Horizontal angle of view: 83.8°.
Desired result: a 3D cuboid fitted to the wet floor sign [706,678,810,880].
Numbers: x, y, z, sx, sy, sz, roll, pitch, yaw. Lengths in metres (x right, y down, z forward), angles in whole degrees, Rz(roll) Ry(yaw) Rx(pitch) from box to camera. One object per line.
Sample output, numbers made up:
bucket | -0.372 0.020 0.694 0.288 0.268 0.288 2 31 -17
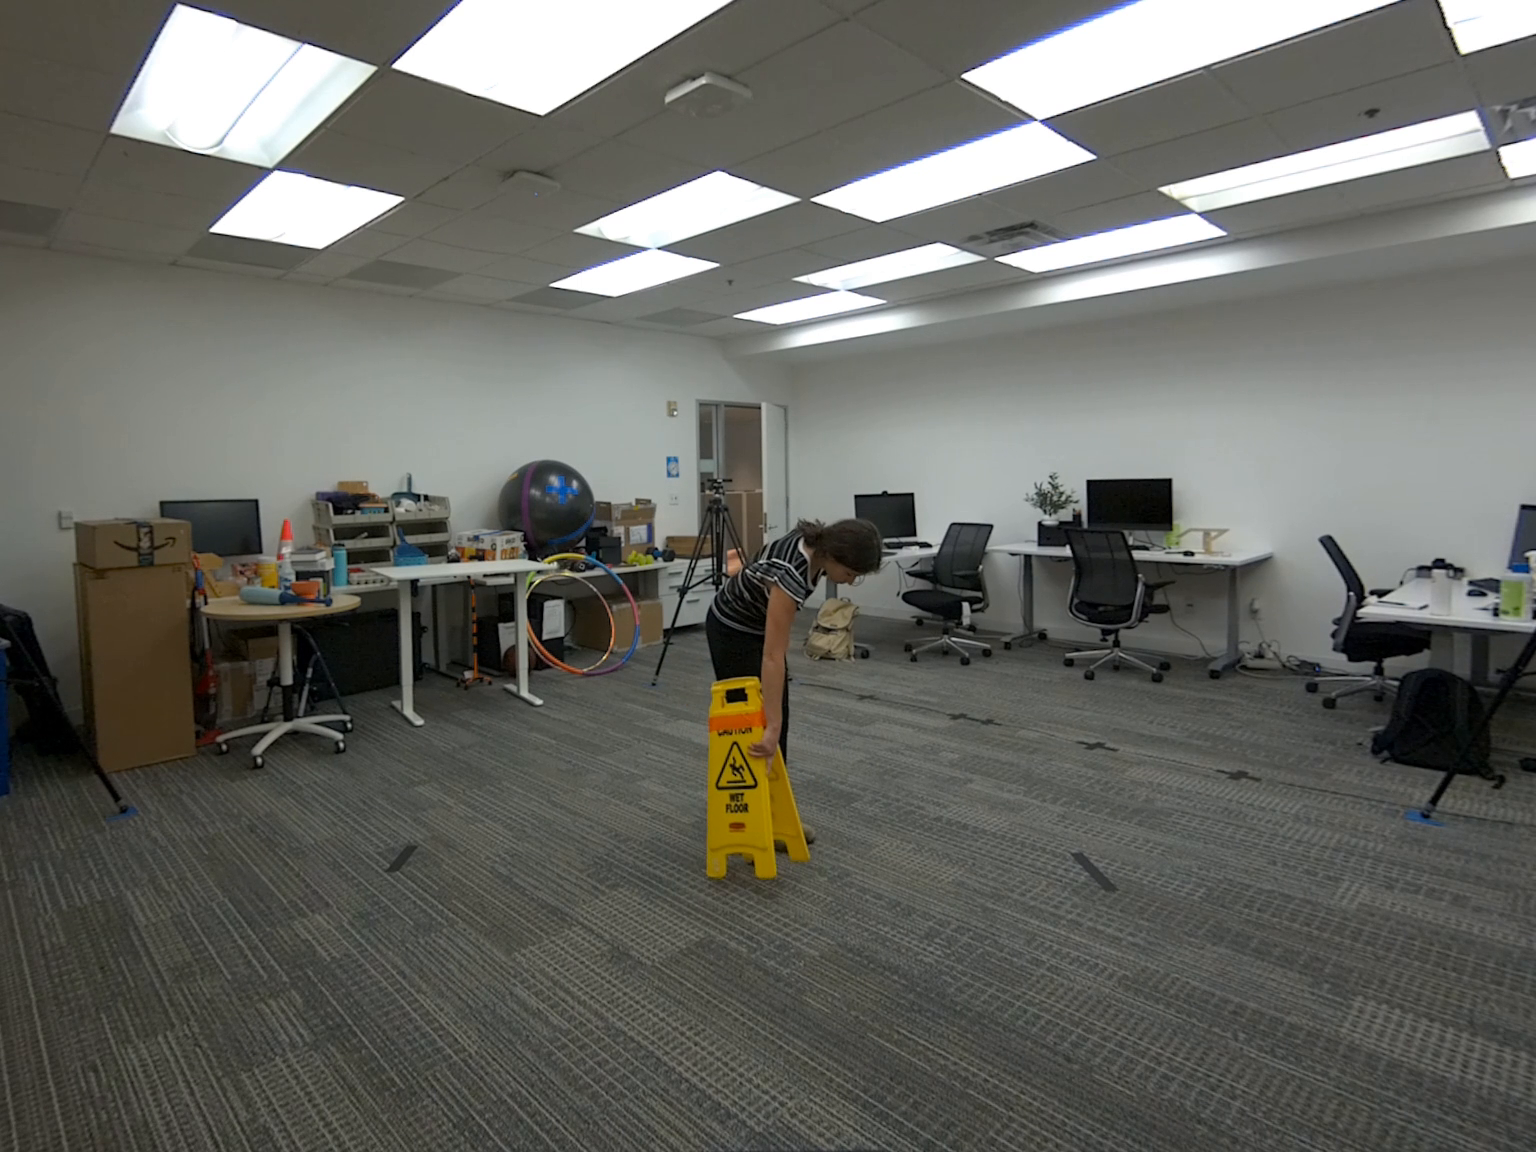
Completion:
wet floor sign | -0.078 0.692 3.005 0.288 0.652 0.281 -14 -10 32
